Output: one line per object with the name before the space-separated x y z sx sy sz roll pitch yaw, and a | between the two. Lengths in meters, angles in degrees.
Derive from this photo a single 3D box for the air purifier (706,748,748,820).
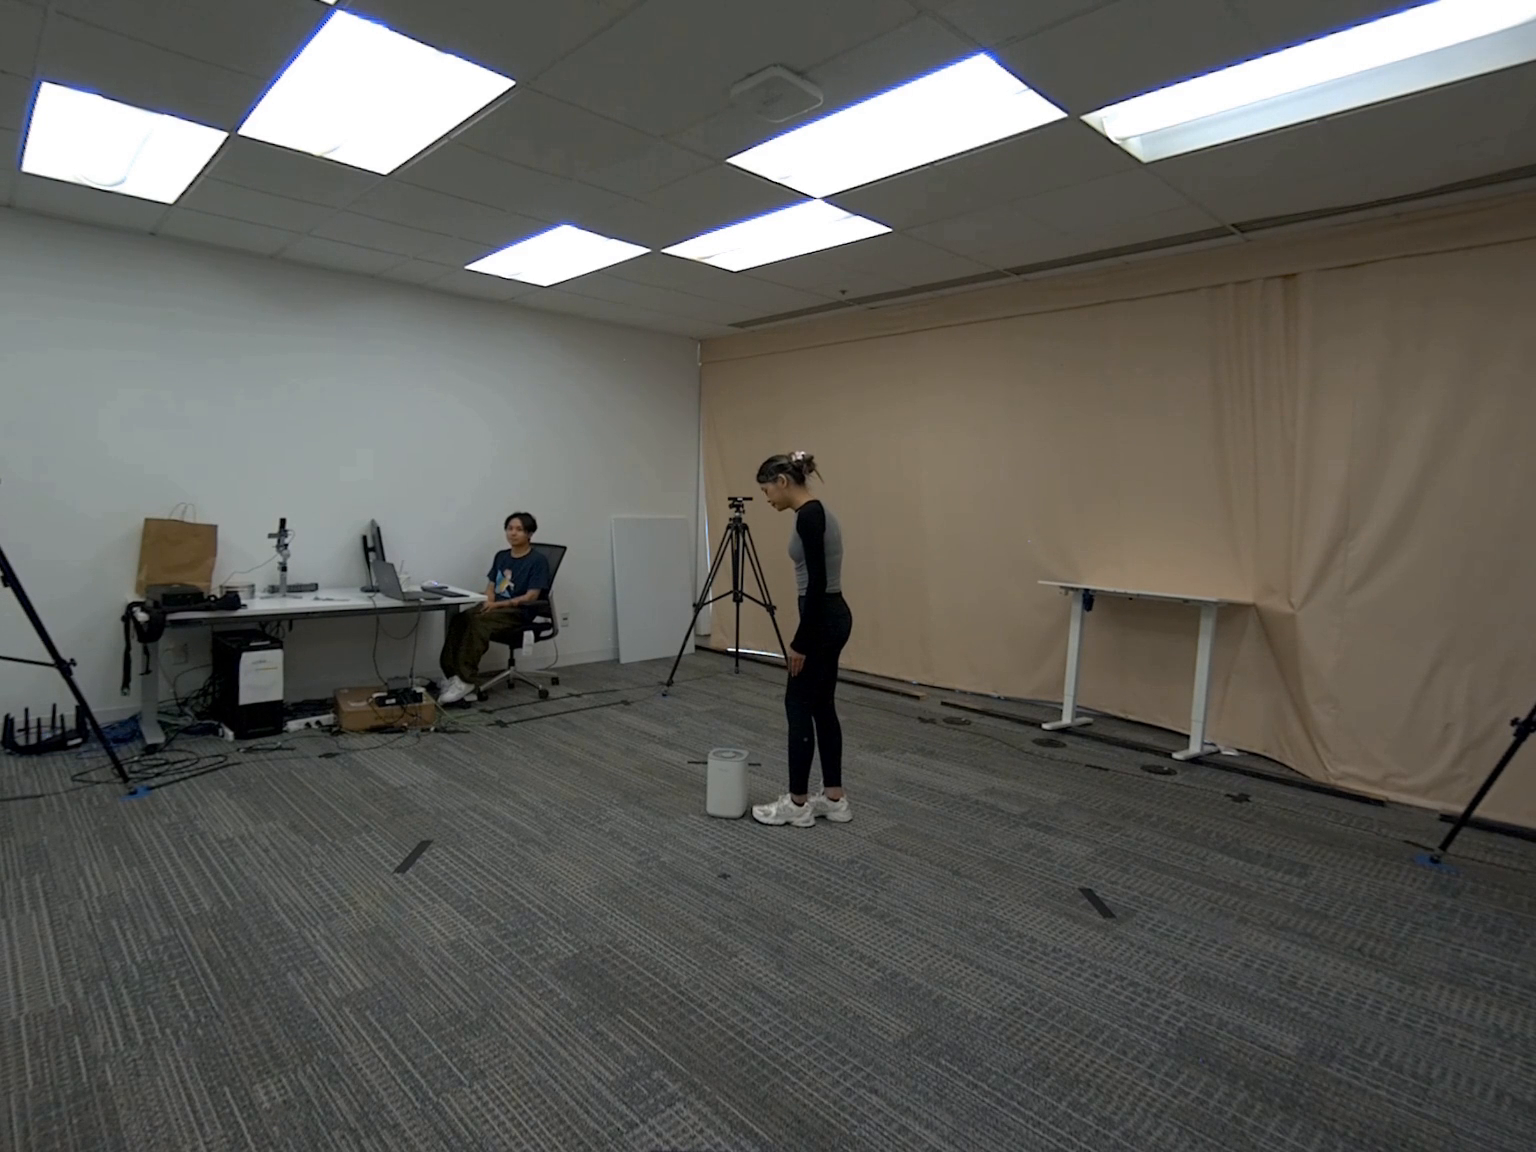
air purifier | -0.187 0.911 3.733 0.172 0.264 0.170 2 4 10
